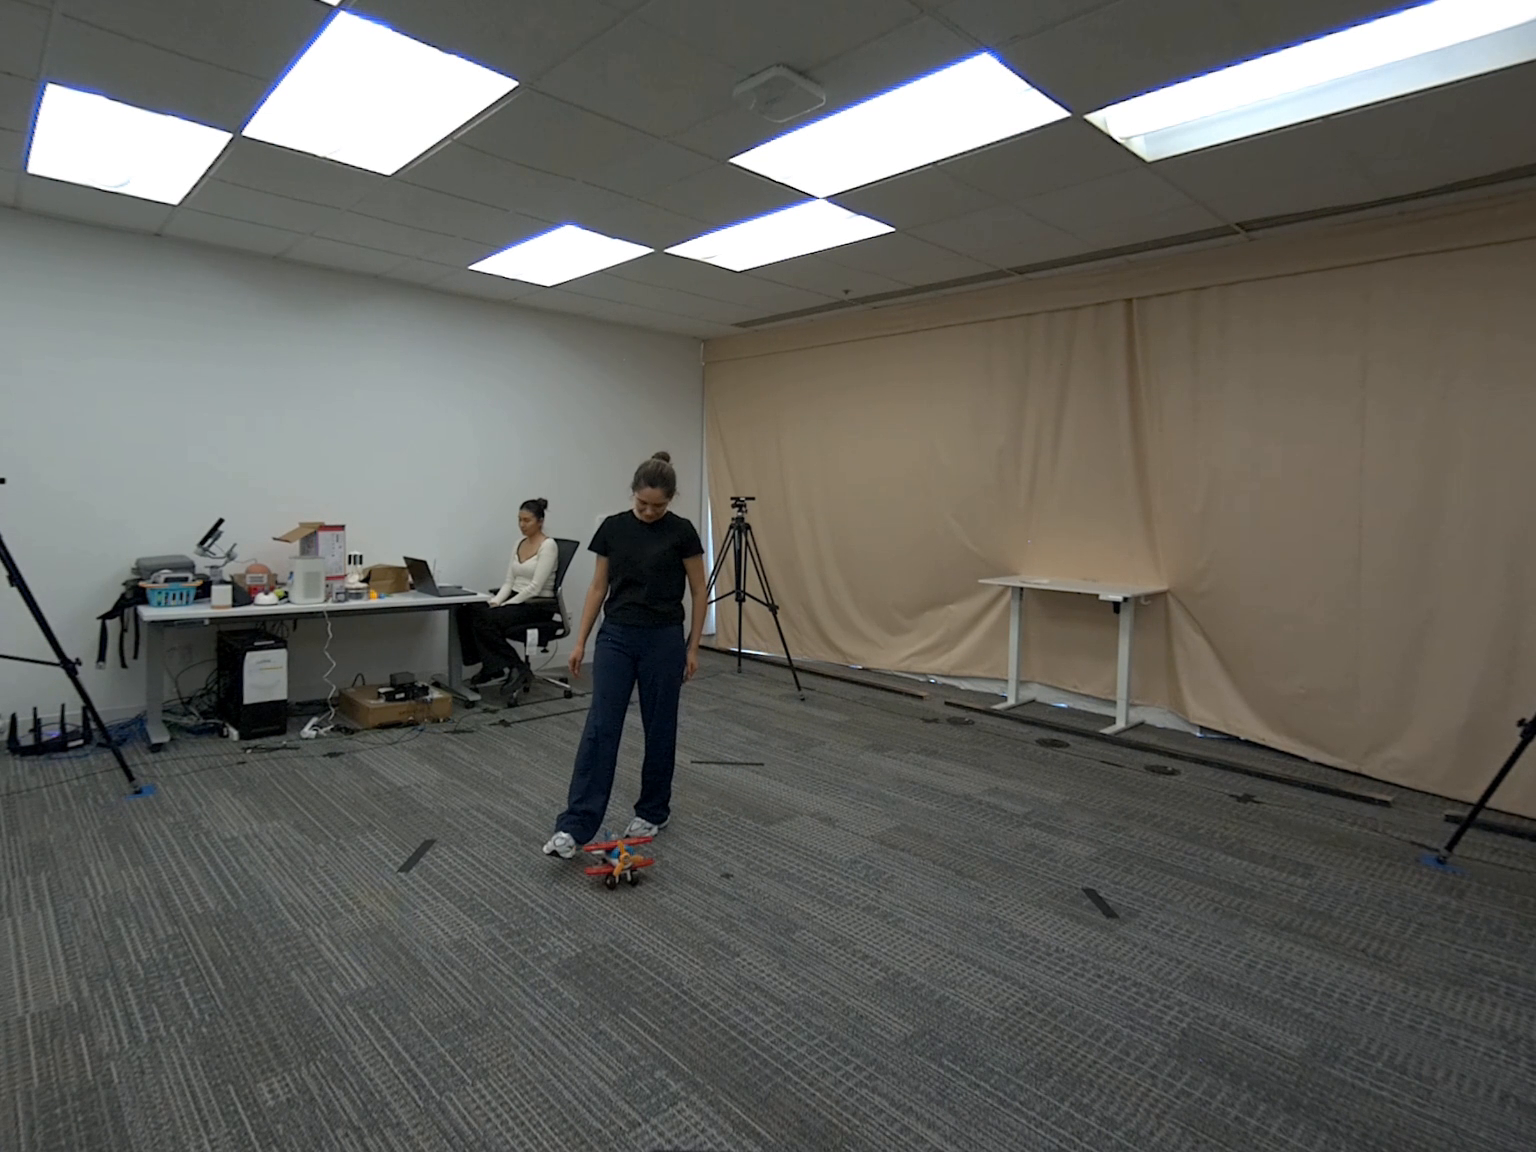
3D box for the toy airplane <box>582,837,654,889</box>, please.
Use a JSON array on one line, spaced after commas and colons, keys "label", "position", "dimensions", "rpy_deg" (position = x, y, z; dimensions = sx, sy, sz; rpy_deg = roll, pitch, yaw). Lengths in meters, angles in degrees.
[{"label": "toy airplane", "position": [-0.579, 1.031, 3.049], "dimensions": [0.266, 0.156, 0.246], "rpy_deg": [6, 8, 38]}]
